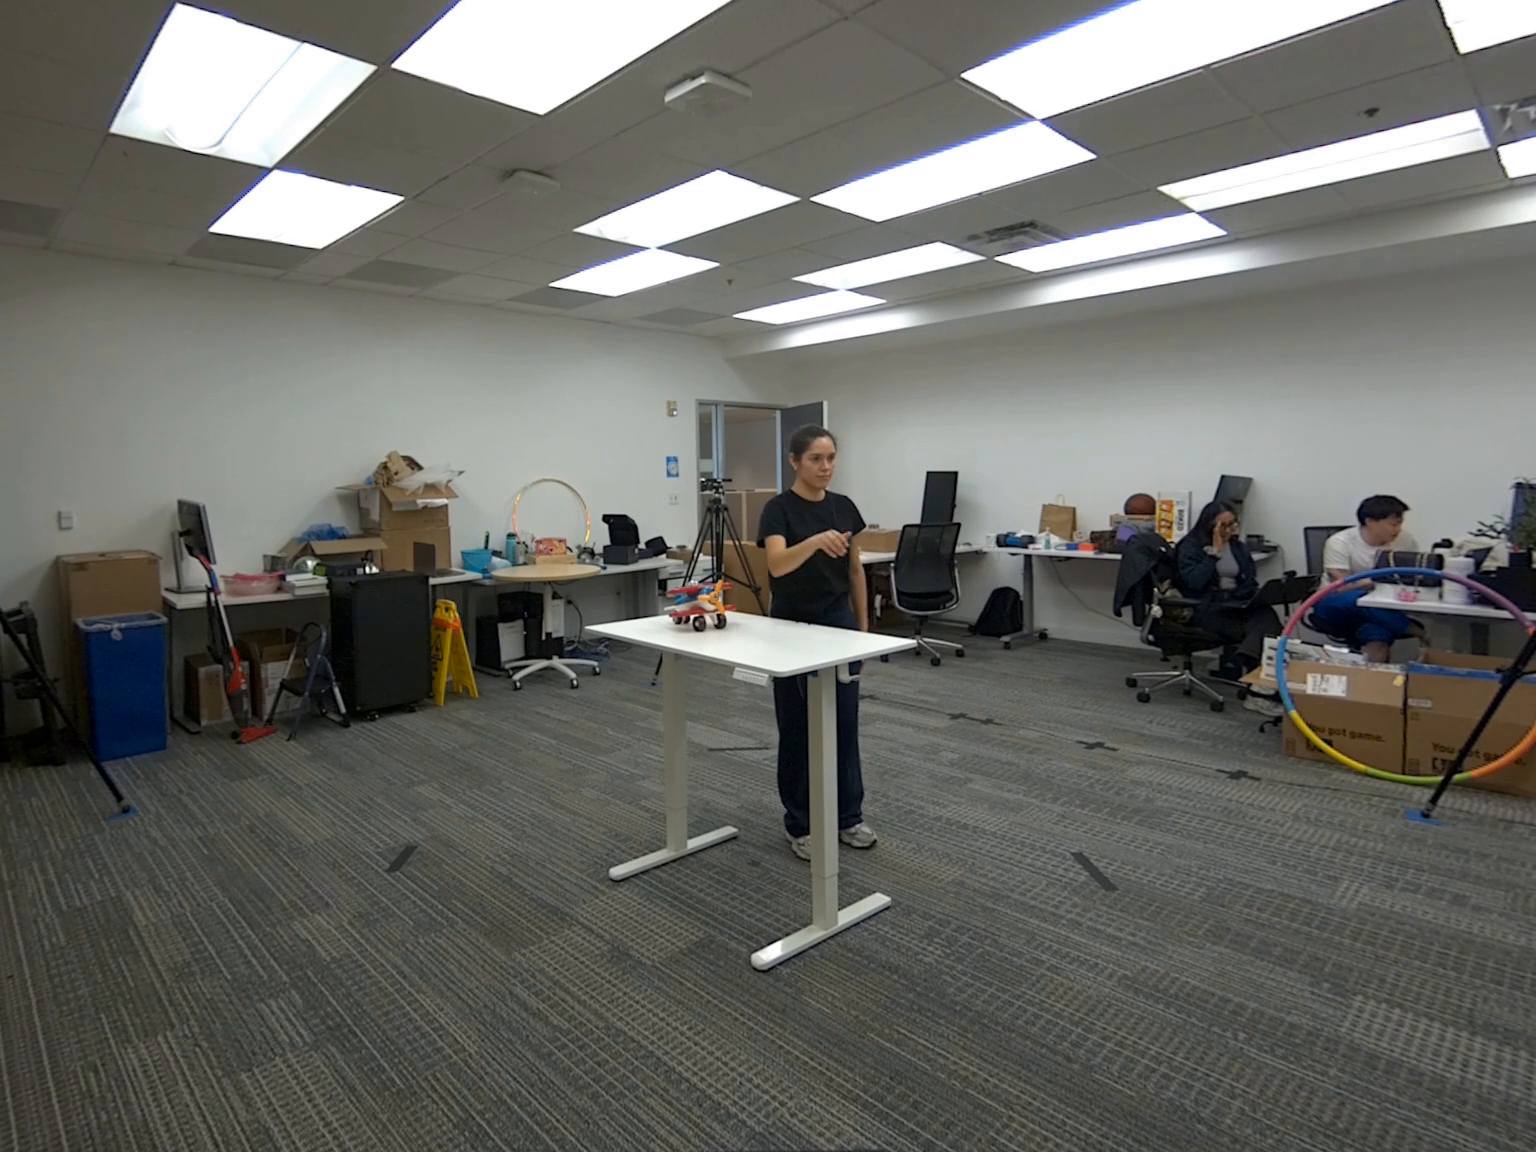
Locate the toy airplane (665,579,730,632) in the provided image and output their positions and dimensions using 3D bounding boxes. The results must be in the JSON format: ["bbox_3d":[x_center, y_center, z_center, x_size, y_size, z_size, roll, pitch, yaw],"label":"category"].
[{"bbox_3d":[-0.267,0.101,2.996,0.265,0.156,0.246,3,6,25],"label":"toy airplane"}]
